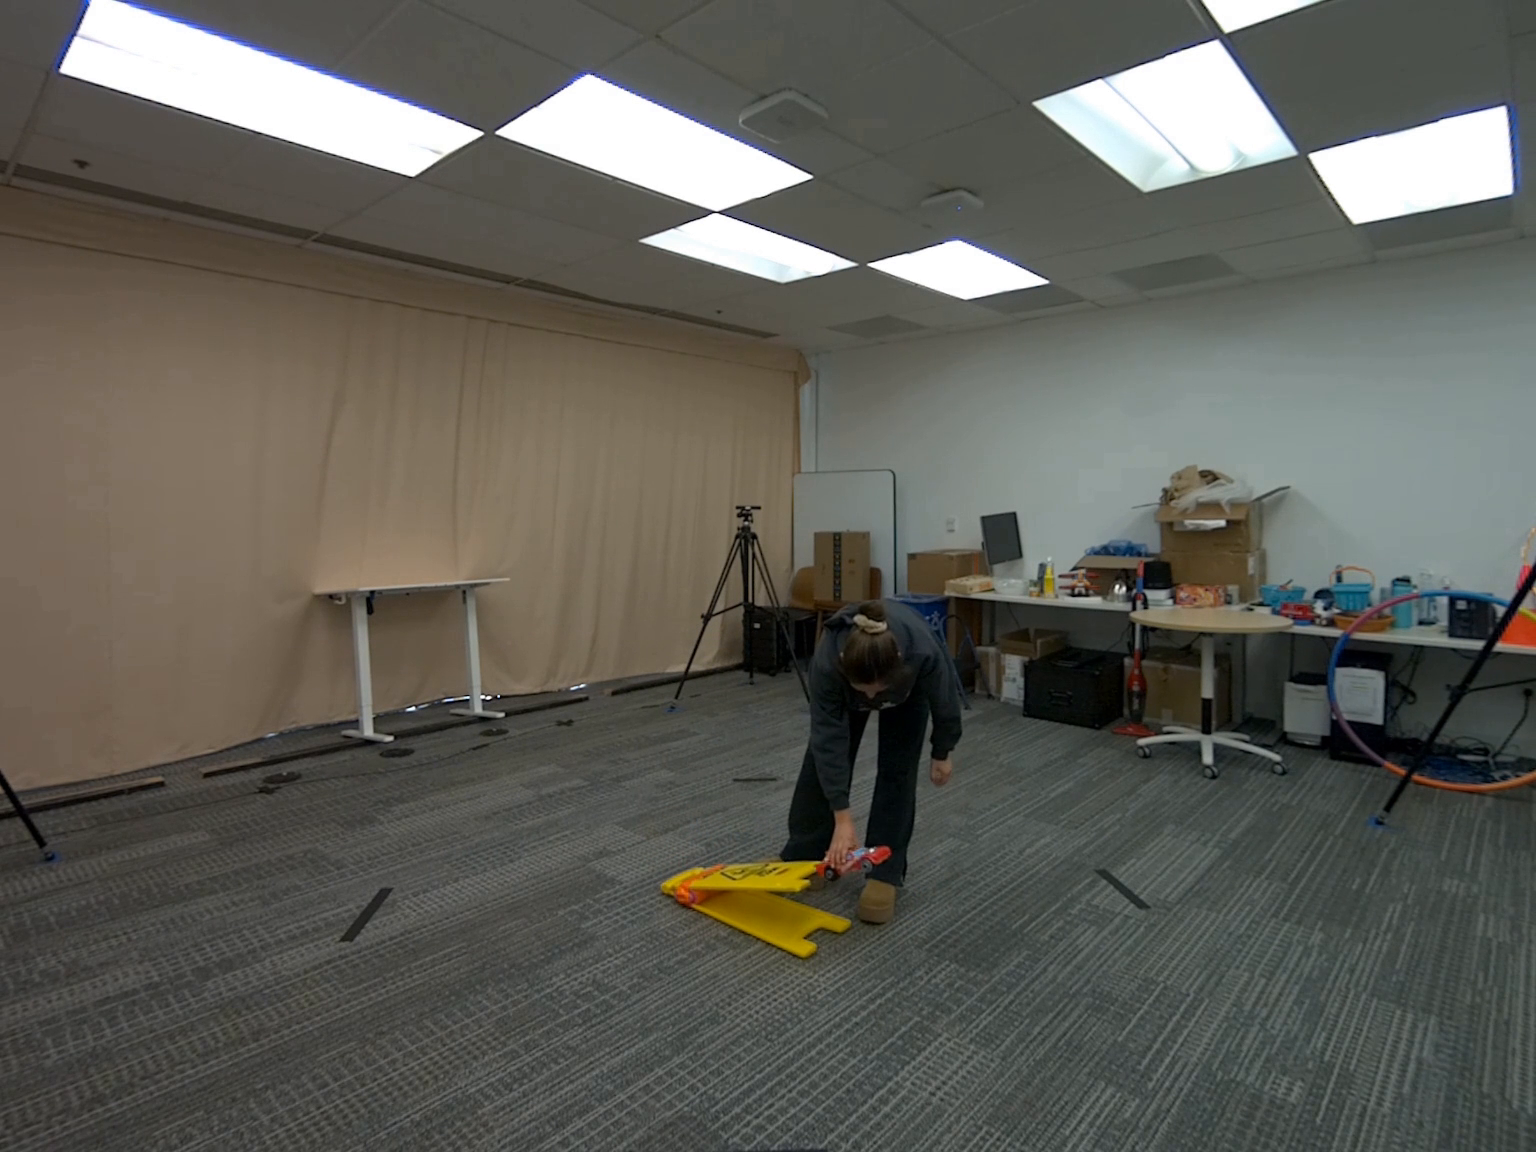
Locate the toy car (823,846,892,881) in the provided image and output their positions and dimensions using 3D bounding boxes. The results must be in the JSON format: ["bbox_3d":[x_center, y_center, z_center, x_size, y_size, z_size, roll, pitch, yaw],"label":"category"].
[{"bbox_3d":[0.268,0.884,2.628,0.261,0.084,0.126,-18,-8,42],"label":"toy car"}]
